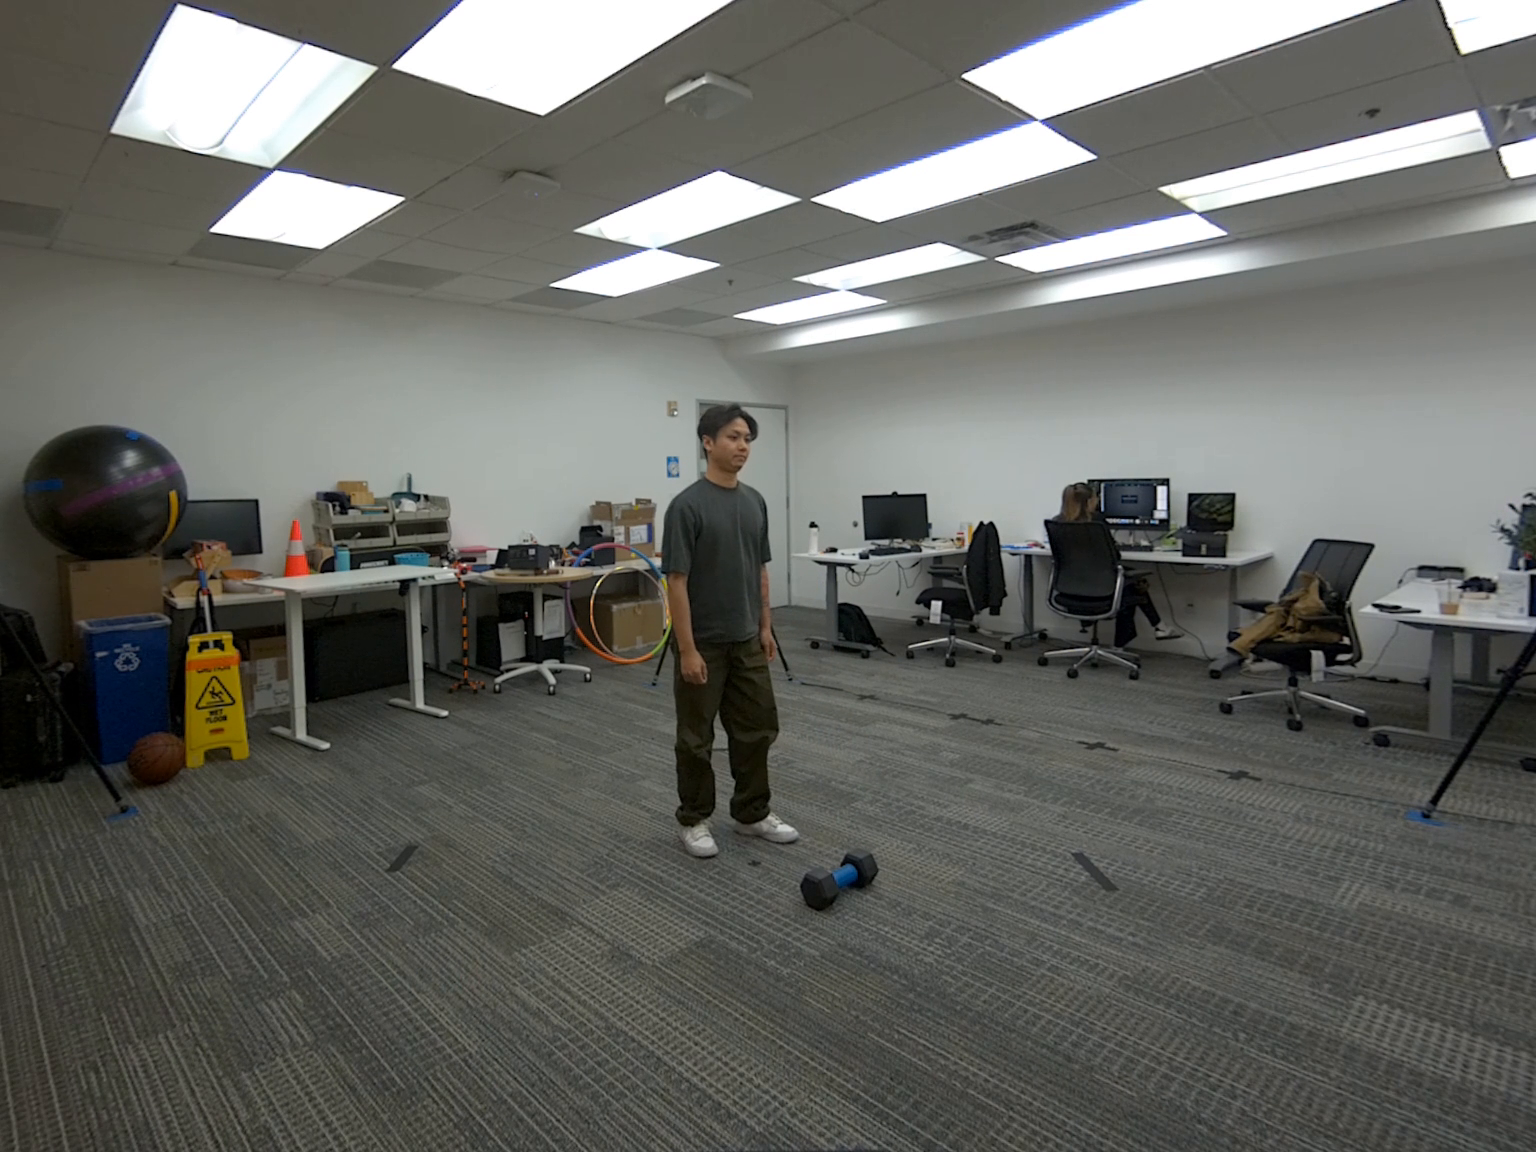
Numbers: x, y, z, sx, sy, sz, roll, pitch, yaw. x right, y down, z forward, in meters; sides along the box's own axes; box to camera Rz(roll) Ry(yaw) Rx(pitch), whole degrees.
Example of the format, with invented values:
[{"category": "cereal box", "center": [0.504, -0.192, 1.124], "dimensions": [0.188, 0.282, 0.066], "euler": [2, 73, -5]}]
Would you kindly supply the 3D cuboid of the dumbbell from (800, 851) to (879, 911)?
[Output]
[{"category": "dumbbell", "center": [0.247, 1.014, 2.863], "dimensions": [0.286, 0.121, 0.113], "euler": [-7, 38, -45]}]
